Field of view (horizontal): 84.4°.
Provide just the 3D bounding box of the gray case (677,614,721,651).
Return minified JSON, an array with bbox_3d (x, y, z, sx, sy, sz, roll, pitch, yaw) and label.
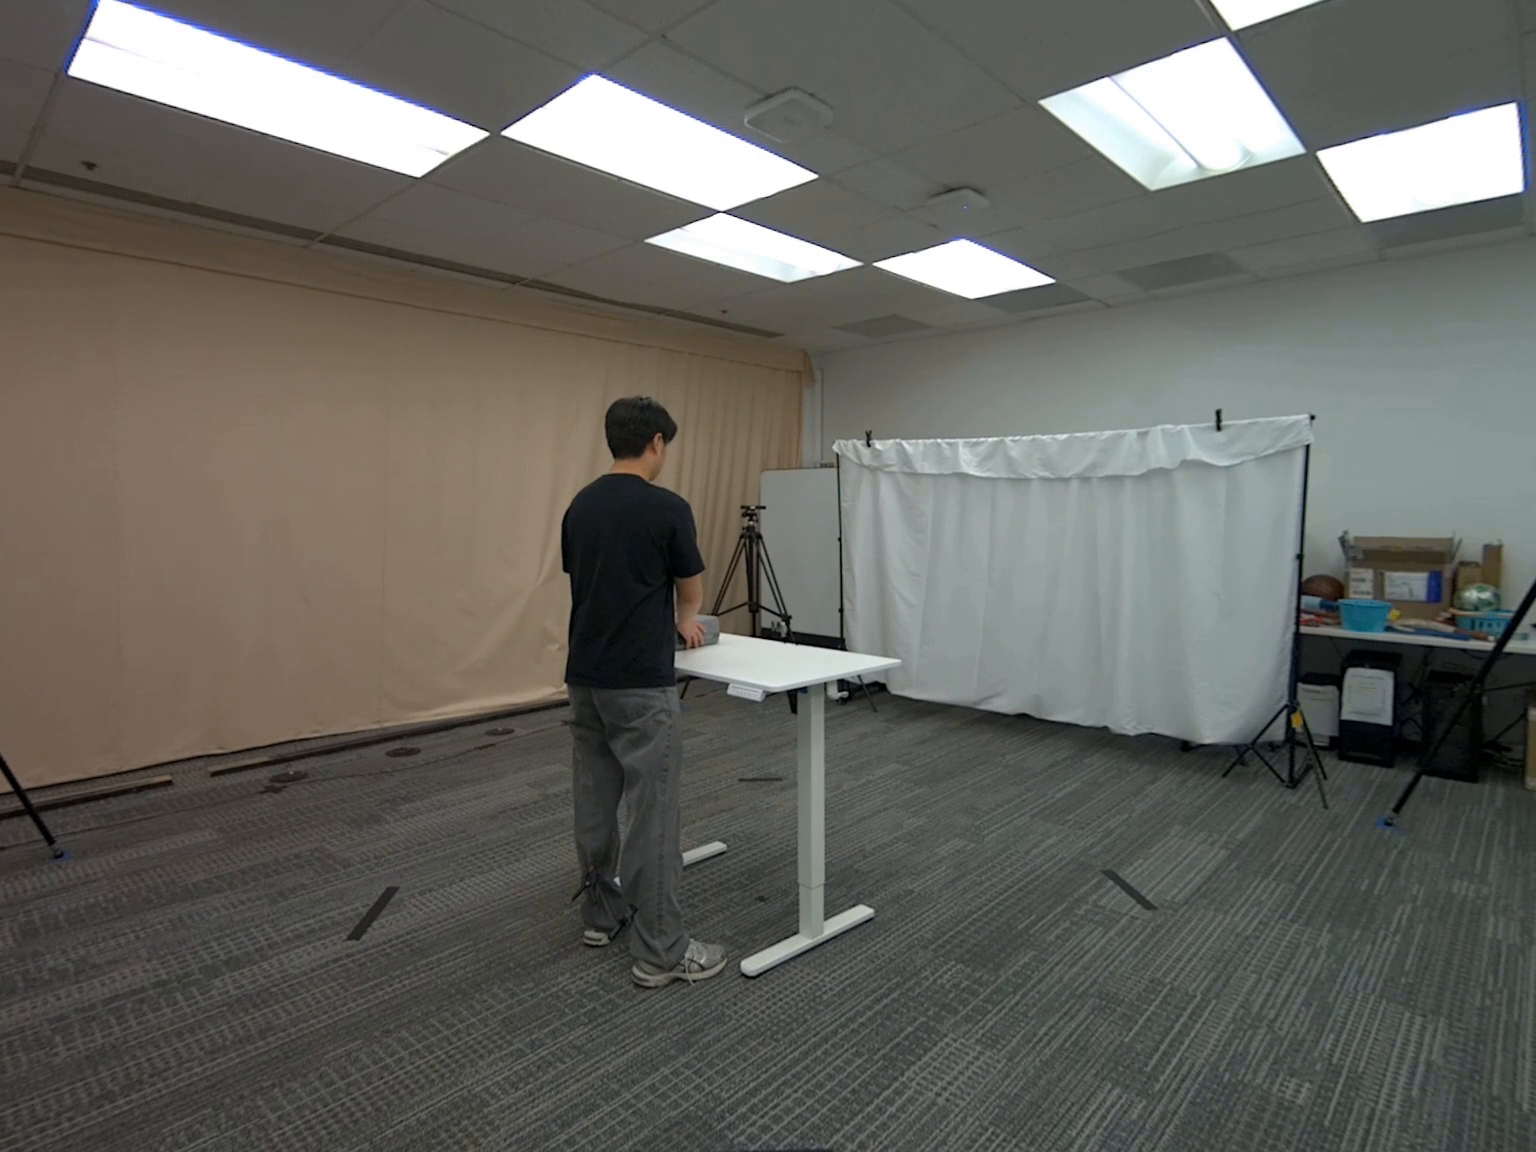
[{"bbox_3d":[-0.355,0.202,3.129,0.297,0.103,0.255,4,6,43],"label":"gray case"}]
